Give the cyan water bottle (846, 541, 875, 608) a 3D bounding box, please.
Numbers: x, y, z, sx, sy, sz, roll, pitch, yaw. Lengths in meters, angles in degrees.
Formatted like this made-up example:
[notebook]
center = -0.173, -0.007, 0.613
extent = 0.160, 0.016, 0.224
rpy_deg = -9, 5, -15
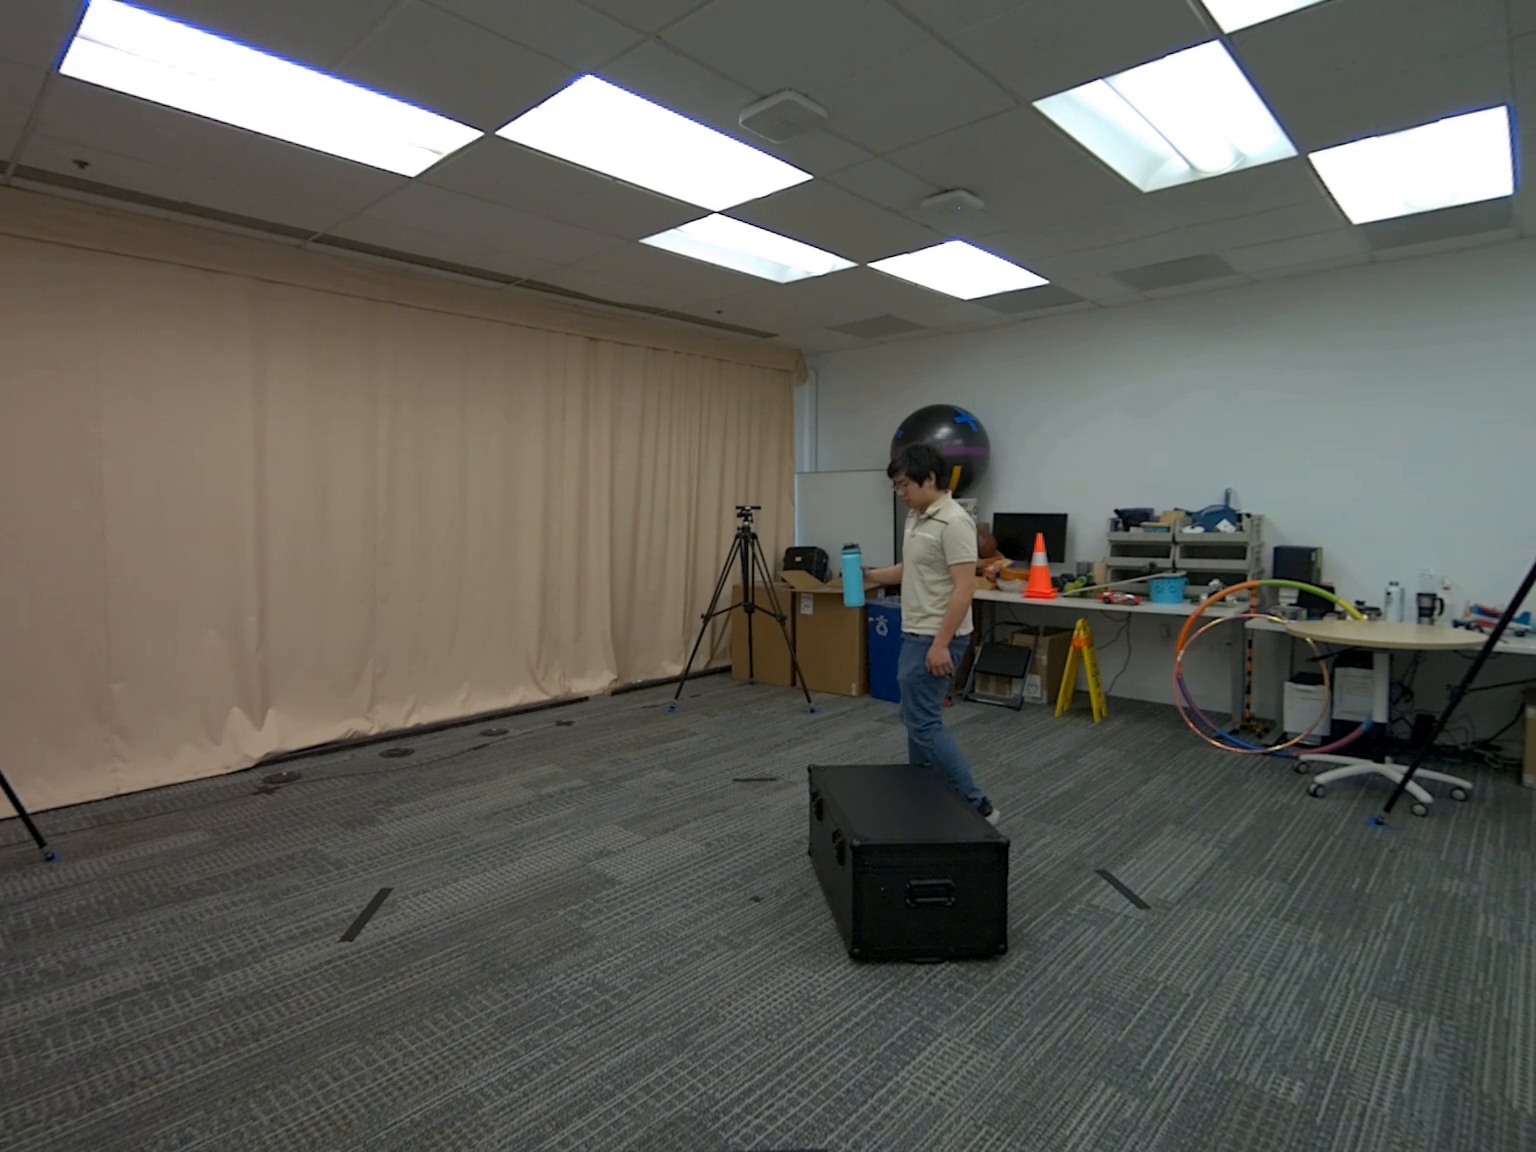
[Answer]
[cyan water bottle]
center = 0.403, -0.010, 3.714
extent = 0.092, 0.283, 0.092
rpy_deg = -3, -1, -2
